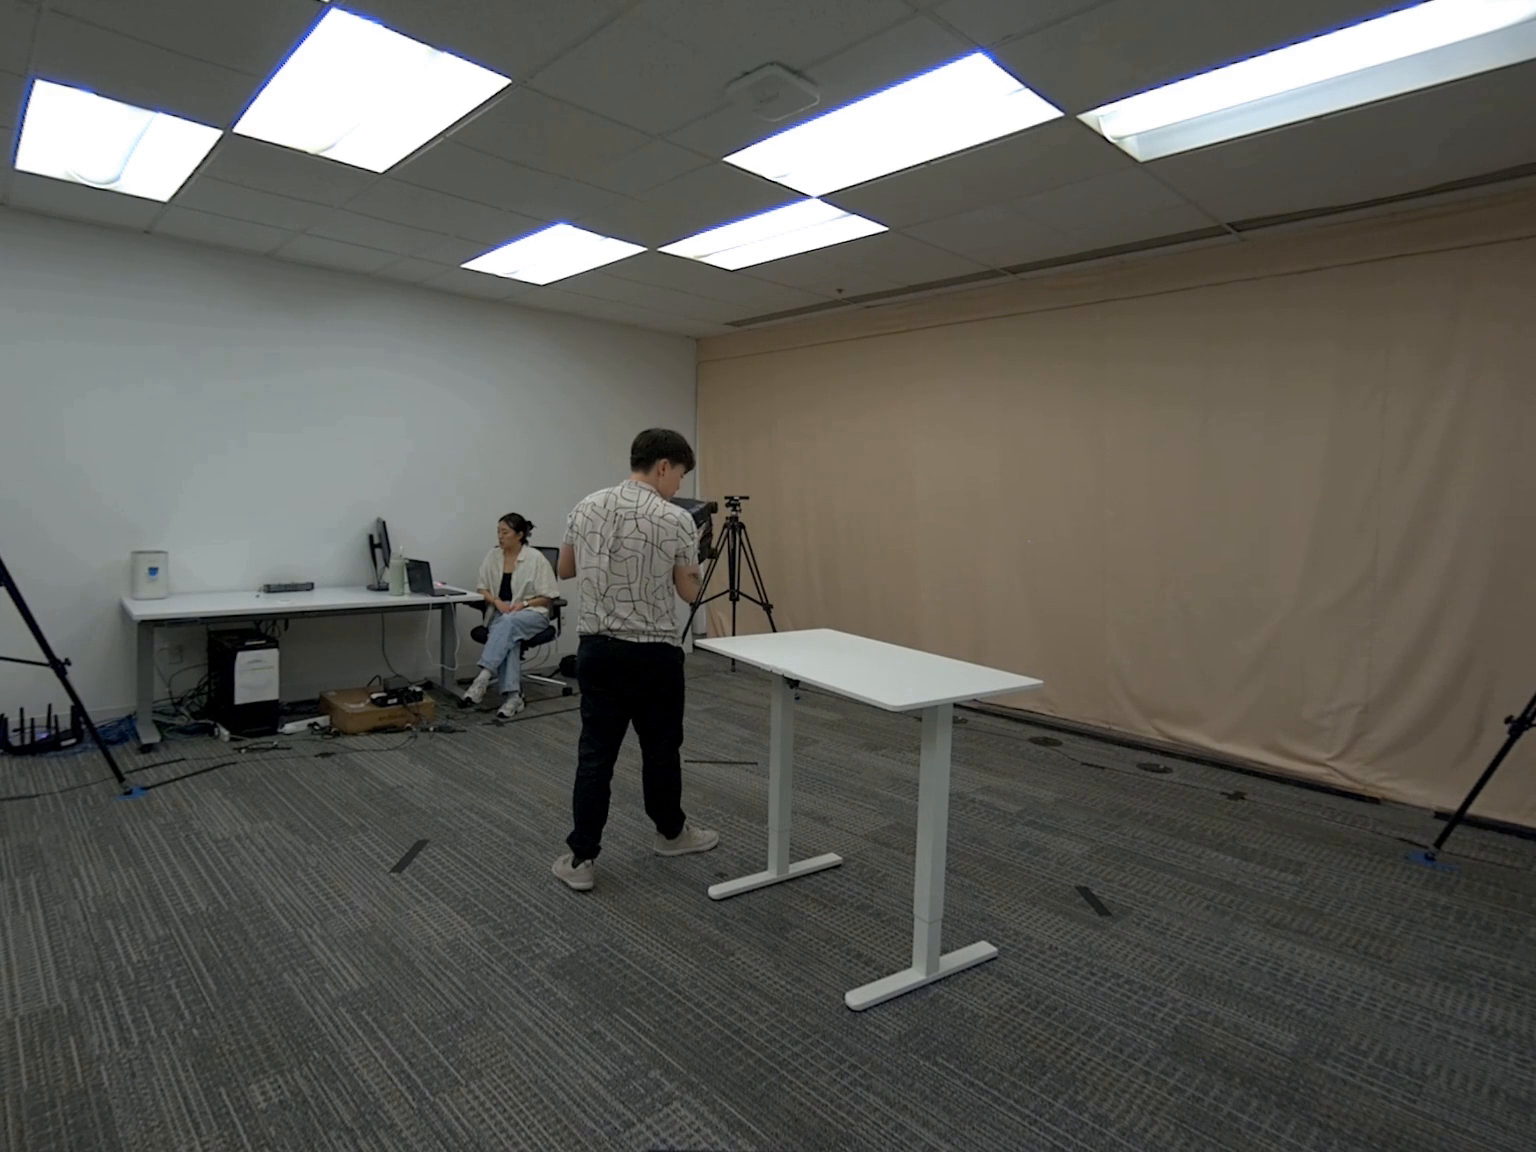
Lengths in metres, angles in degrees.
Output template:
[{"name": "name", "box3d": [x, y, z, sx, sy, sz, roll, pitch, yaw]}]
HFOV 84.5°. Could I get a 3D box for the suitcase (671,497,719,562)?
[{"name": "suitcase", "box3d": [-0.492, -0.151, 3.487, 0.381, 0.245, 0.548, 2, 18, 18]}]
